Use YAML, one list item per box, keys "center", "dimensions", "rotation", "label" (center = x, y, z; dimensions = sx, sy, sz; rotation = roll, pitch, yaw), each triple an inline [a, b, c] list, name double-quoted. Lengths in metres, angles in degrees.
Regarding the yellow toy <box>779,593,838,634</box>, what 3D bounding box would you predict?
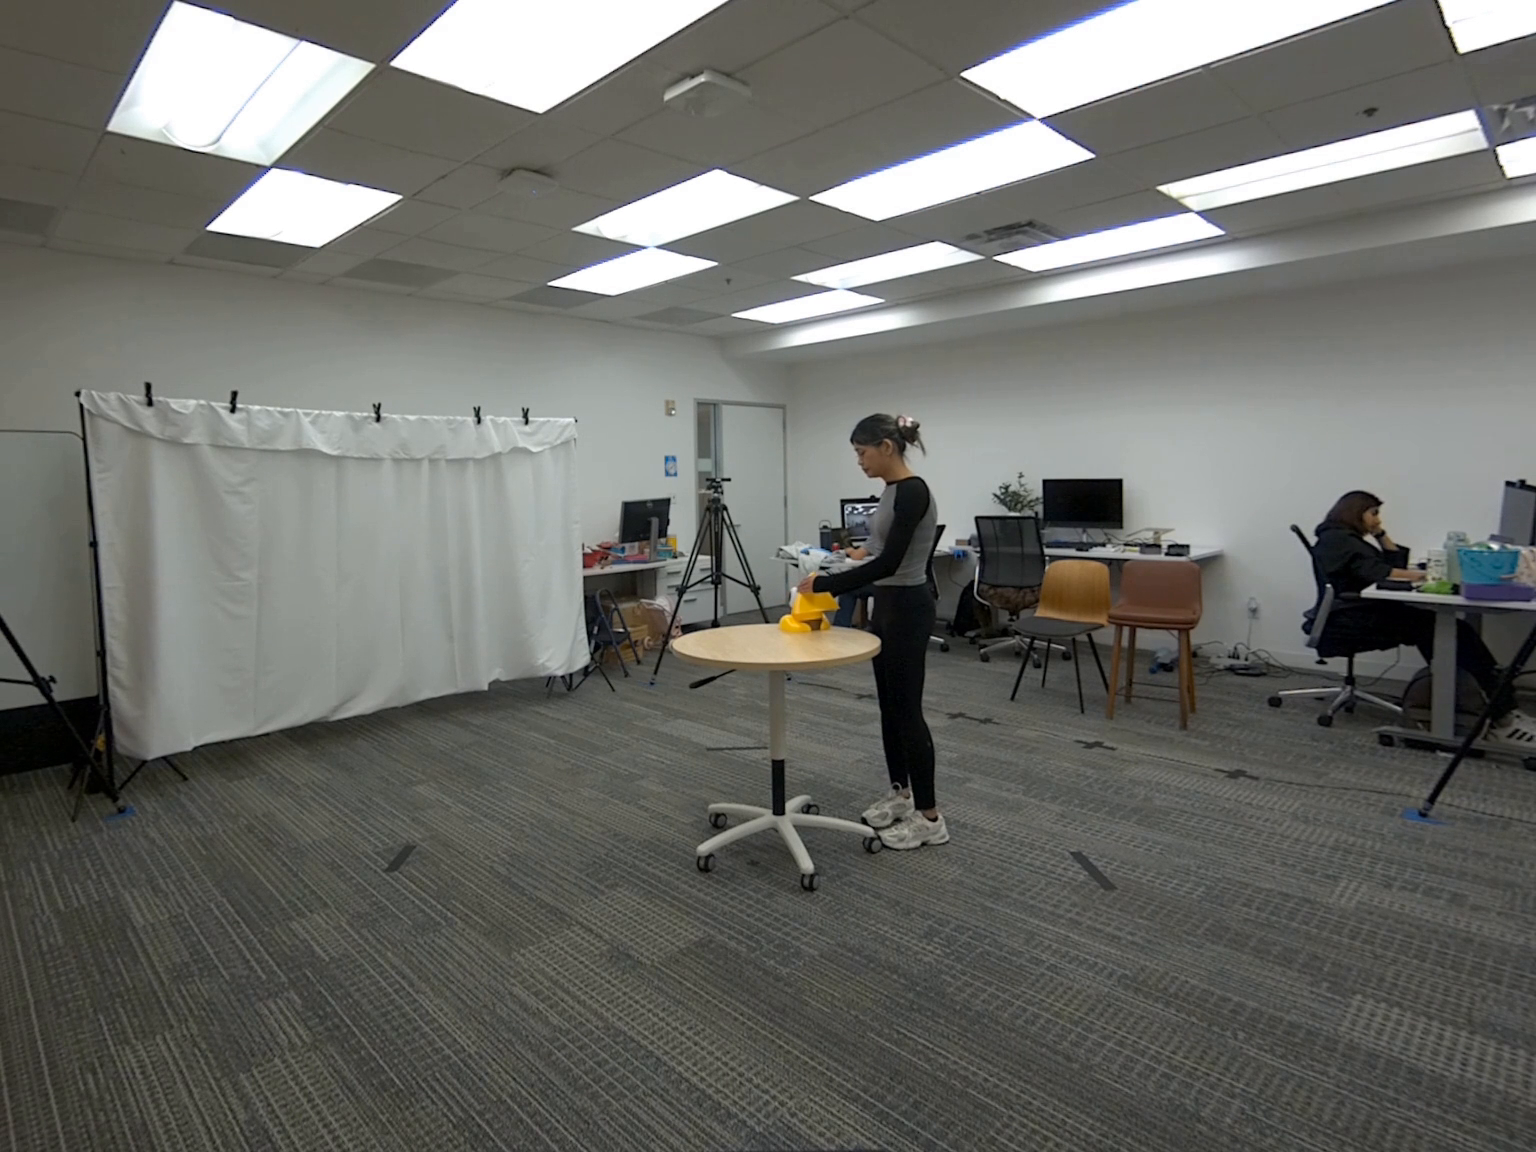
- center: [0.154, 0.096, 3.419]
  dimensions: [0.200, 0.230, 0.198]
  rotation: [-4, 6, -31]
  label: "yellow toy"
